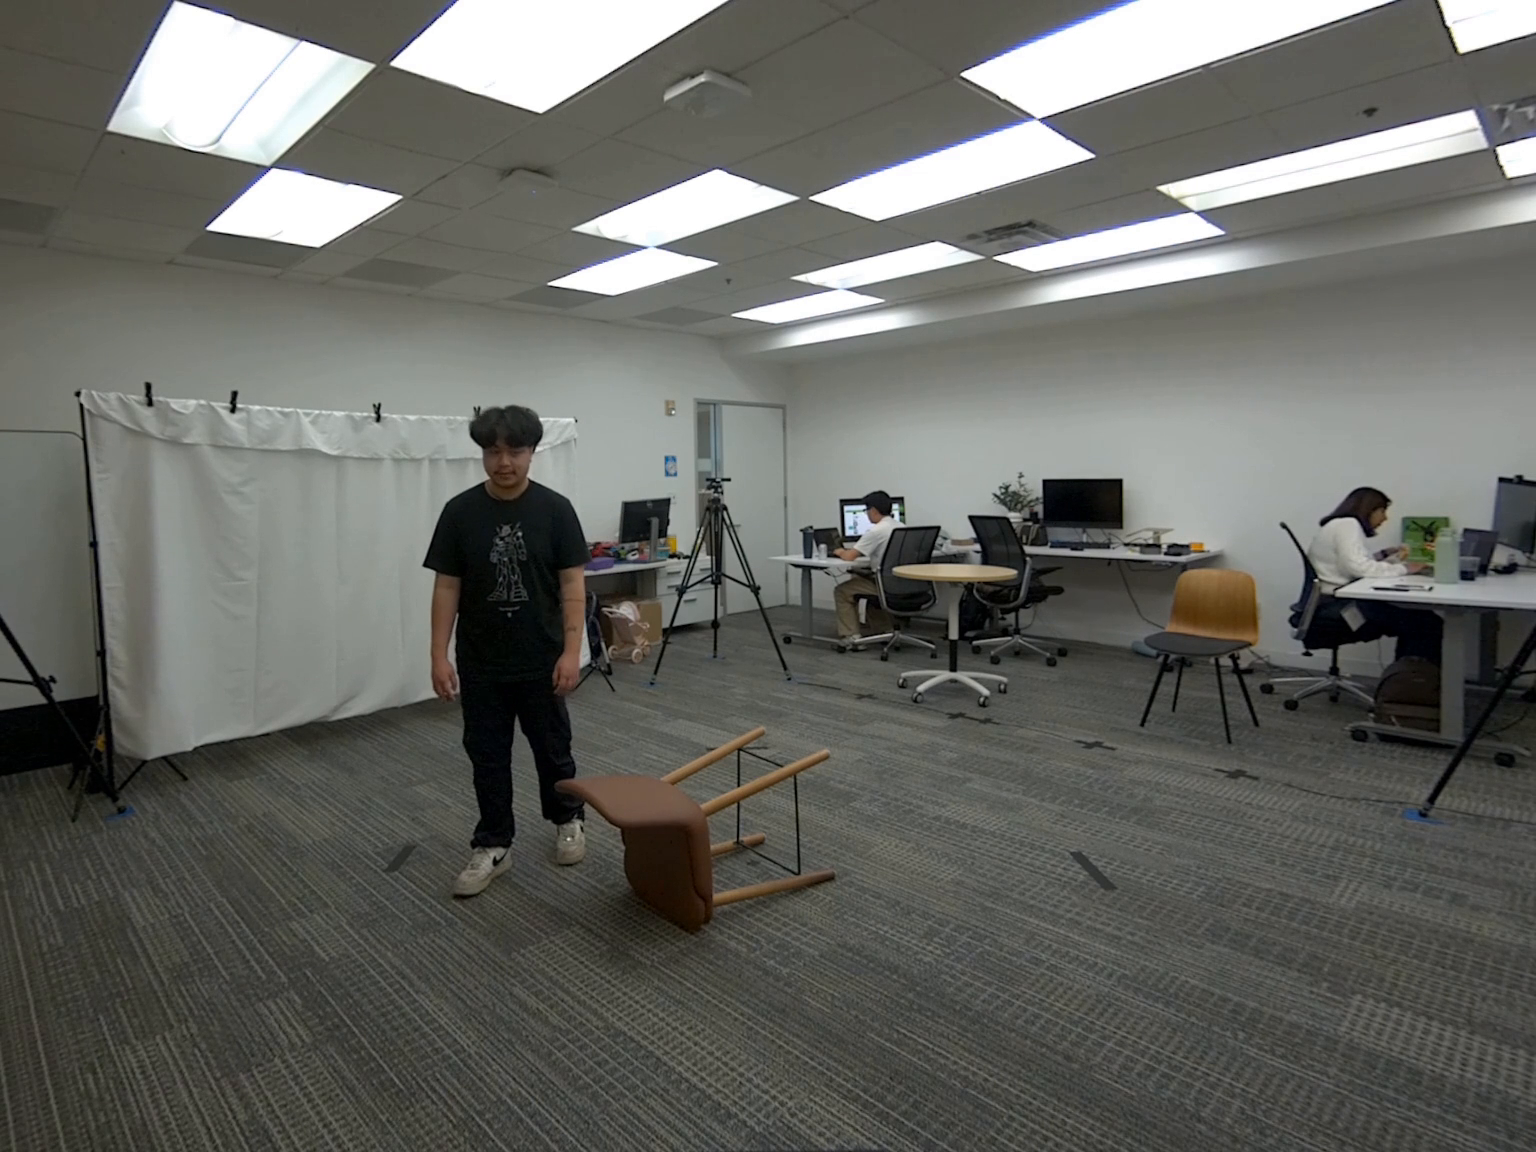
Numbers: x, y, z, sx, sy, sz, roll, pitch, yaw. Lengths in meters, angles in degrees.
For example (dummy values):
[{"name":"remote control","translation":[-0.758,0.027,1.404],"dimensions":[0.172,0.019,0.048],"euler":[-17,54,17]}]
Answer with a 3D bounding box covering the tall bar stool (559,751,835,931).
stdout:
[{"name":"tall bar stool","translation":[-0.232,0.848,2.850],"dimensions":[0.866,0.465,0.471],"euler":[-4,7,-39]}]
